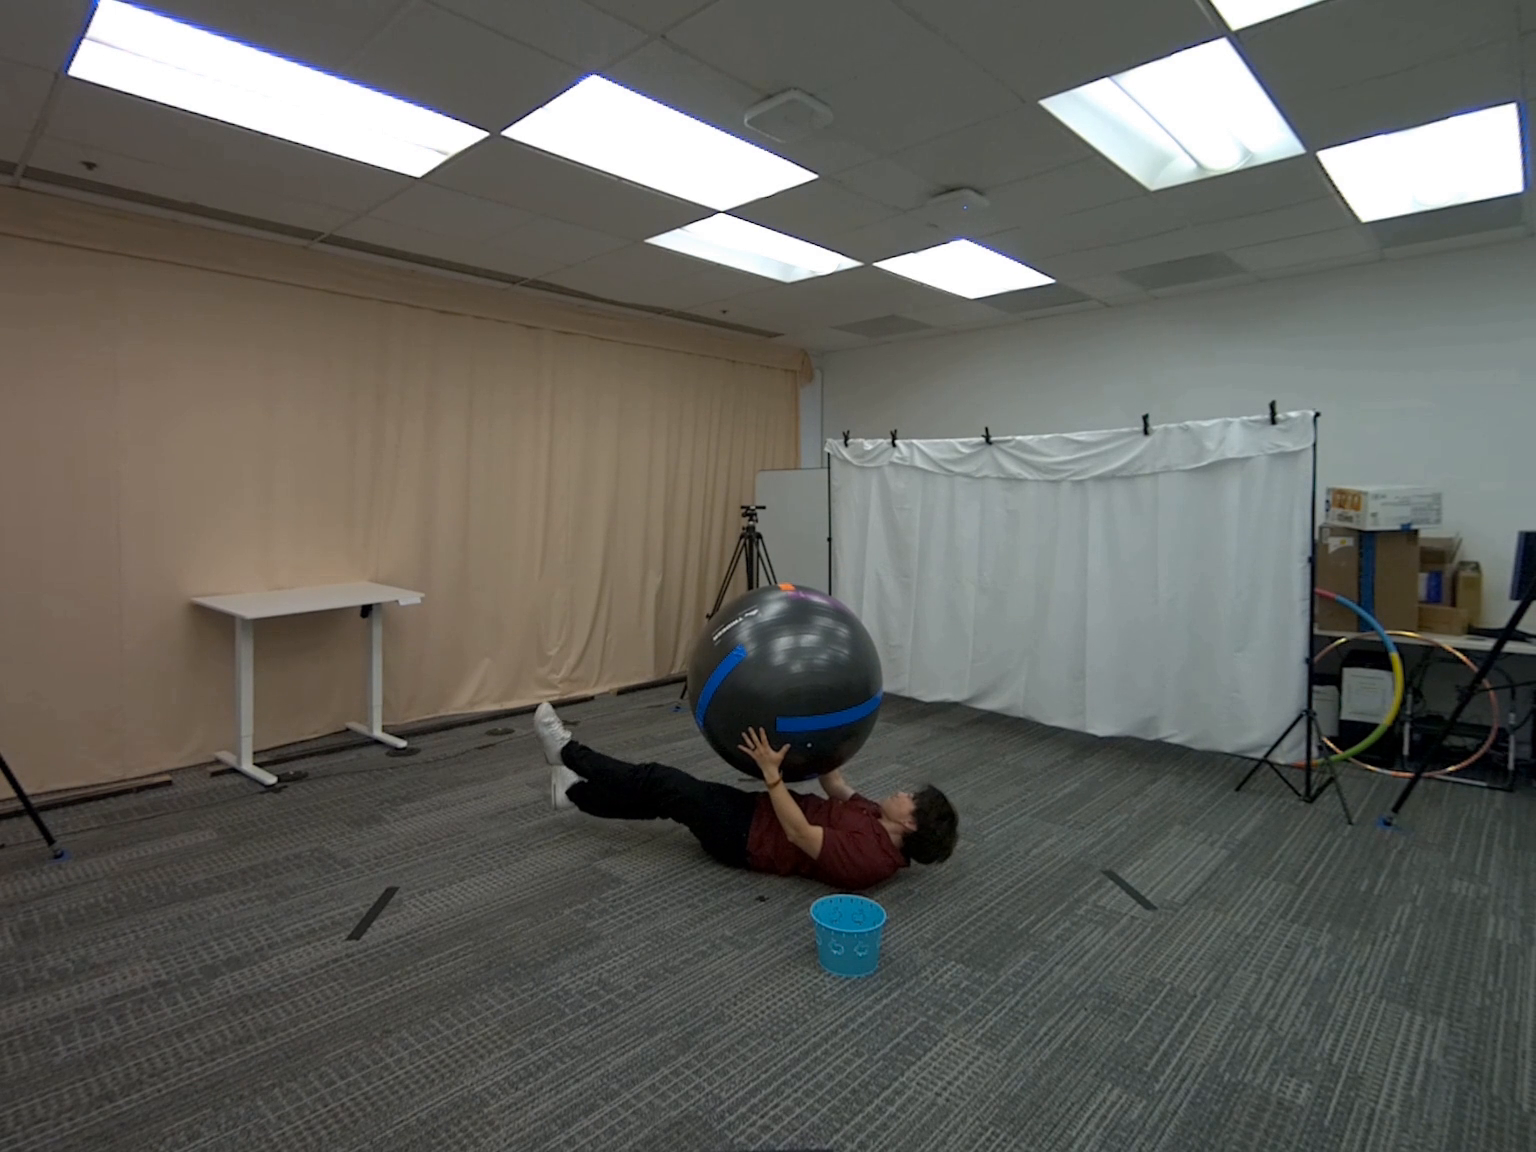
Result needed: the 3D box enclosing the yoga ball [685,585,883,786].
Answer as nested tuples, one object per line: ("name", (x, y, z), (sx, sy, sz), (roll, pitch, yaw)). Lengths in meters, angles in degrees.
("yoga ball", (0.063, 0.413, 3.288), (0.757, 0.756, 0.760), (0, 4, -2))
